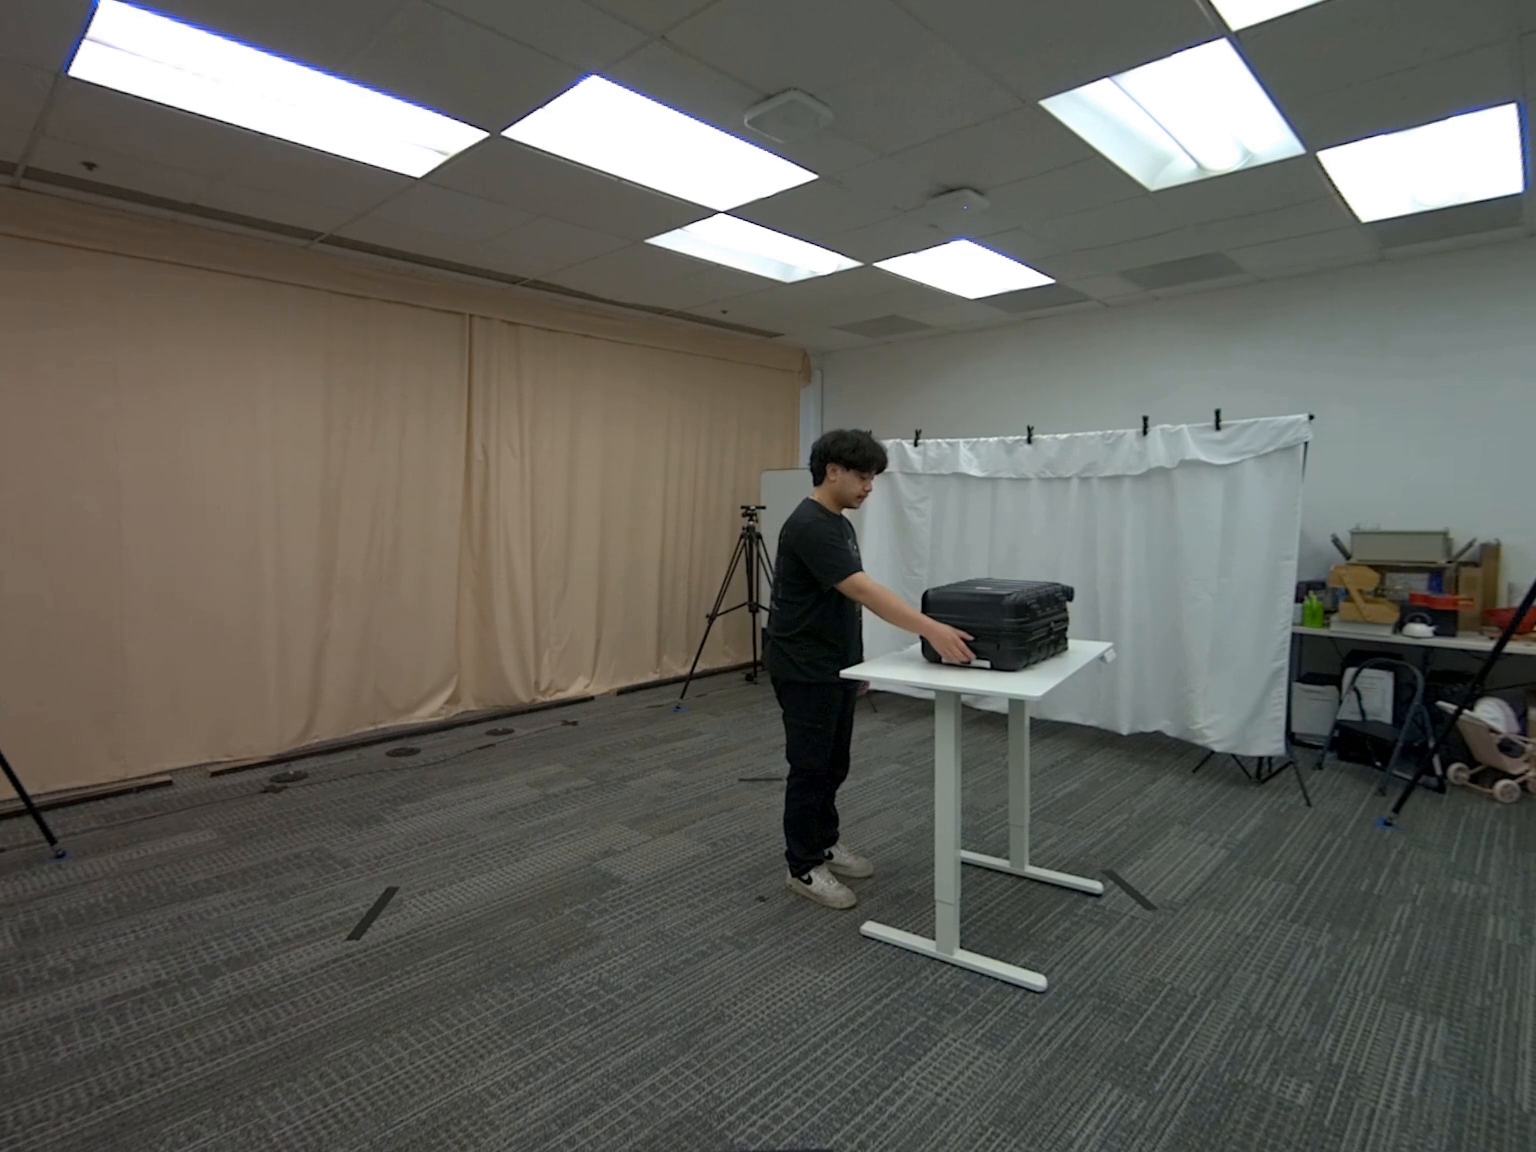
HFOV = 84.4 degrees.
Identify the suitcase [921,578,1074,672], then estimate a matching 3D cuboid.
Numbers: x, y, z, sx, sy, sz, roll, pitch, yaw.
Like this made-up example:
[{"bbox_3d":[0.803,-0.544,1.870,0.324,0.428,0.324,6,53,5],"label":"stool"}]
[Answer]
[{"bbox_3d":[0.783,0.157,2.813,0.388,0.248,0.533,4,6,40],"label":"suitcase"}]
